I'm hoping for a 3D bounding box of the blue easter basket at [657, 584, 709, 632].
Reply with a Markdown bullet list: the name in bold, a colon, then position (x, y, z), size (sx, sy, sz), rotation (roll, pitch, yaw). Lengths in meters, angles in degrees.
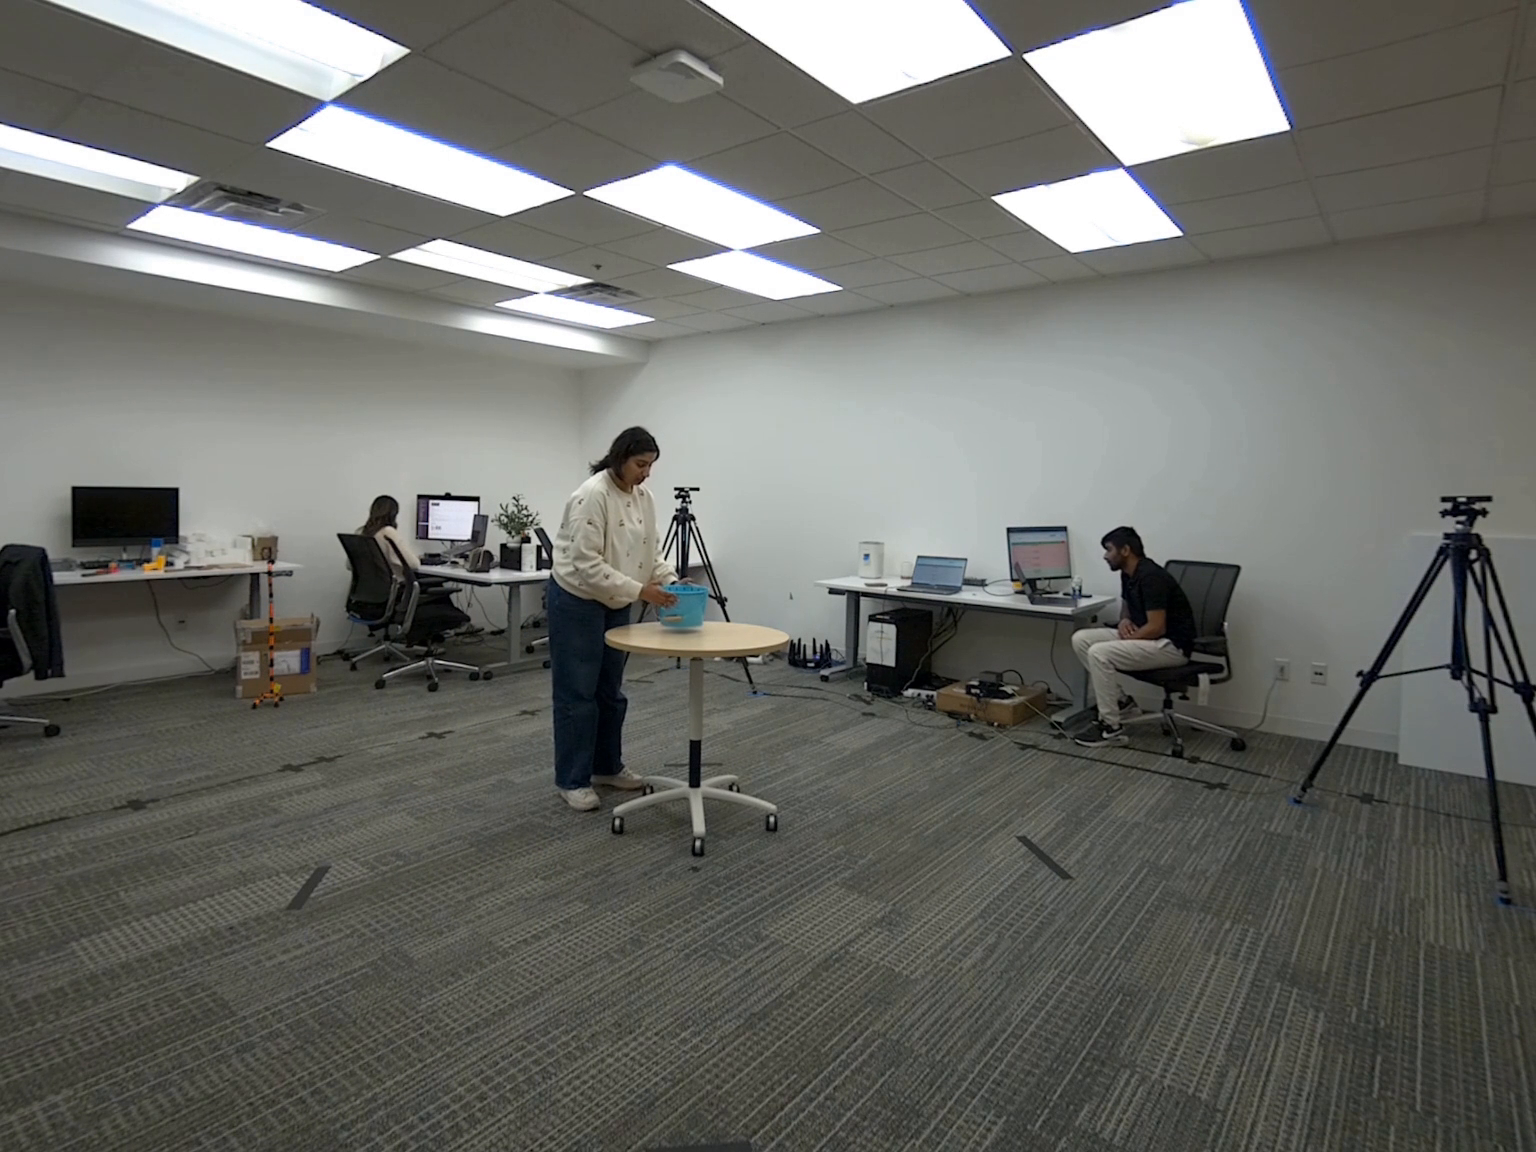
- **blue easter basket**: position (-0.382, 0.132, 3.622), size (0.243, 0.155, 0.245), rotation (1, 4, -2)
